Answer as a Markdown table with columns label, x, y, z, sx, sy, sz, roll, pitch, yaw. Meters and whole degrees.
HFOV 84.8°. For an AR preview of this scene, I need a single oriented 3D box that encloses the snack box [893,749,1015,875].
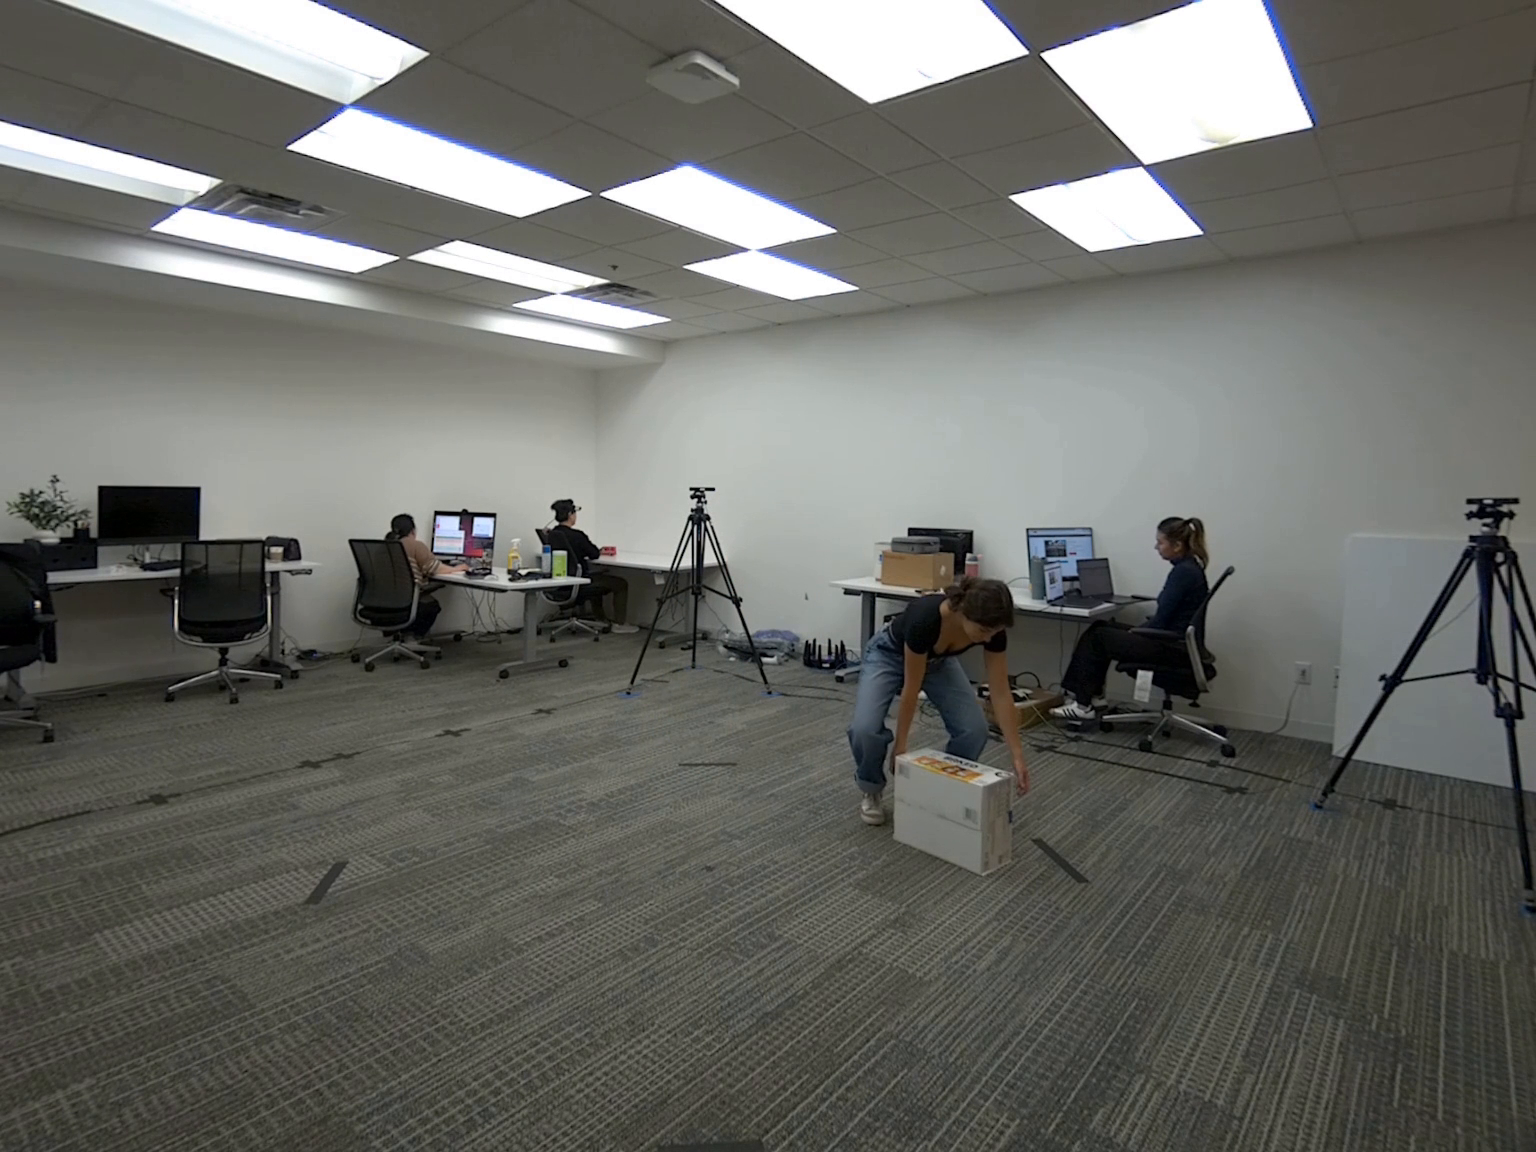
| label | x | y | z | sx | sy | sz | roll | pitch | yaw |
| --- | --- | --- | --- | --- | --- | --- | --- | --- | --- |
| snack box | 0.710 | 0.897 | 3.305 | 0.199 | 0.339 | 0.419 | -4 | 7 | -42 |
